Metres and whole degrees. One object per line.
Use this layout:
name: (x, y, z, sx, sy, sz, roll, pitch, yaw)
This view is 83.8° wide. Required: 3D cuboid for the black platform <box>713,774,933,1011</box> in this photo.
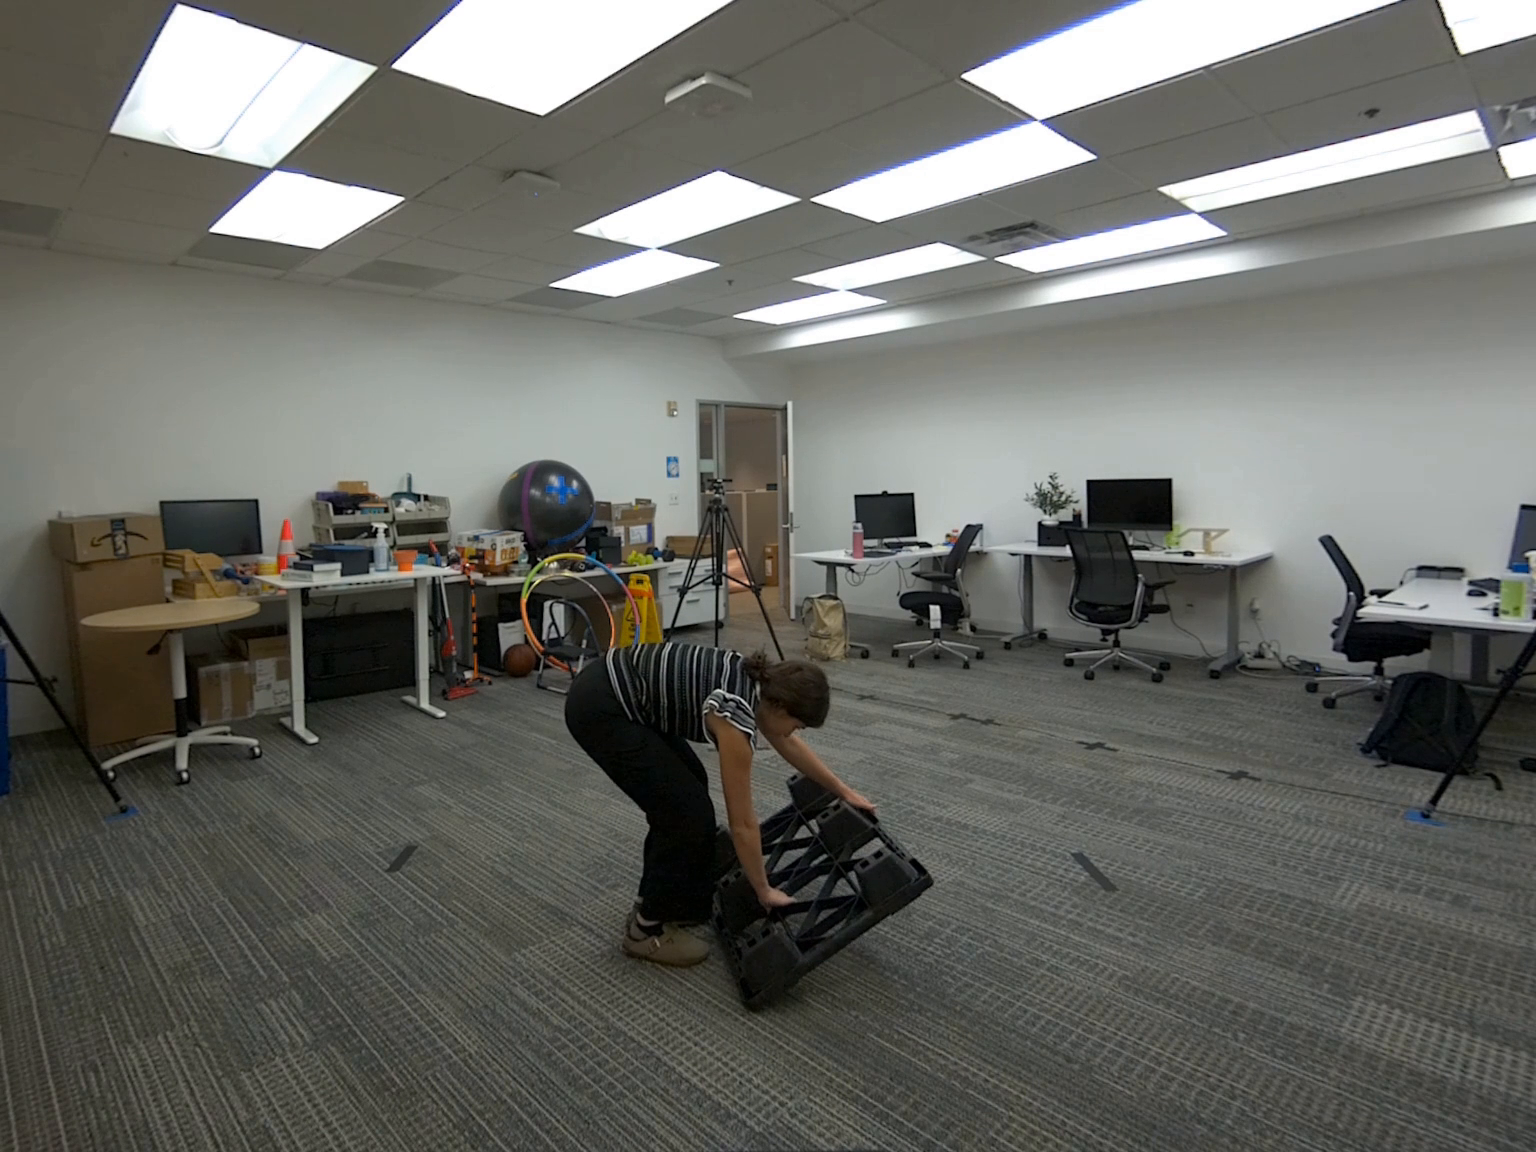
black platform: (0.085, 0.890, 2.655, 0.603, 0.141, 0.820, -33, 14, -9)
